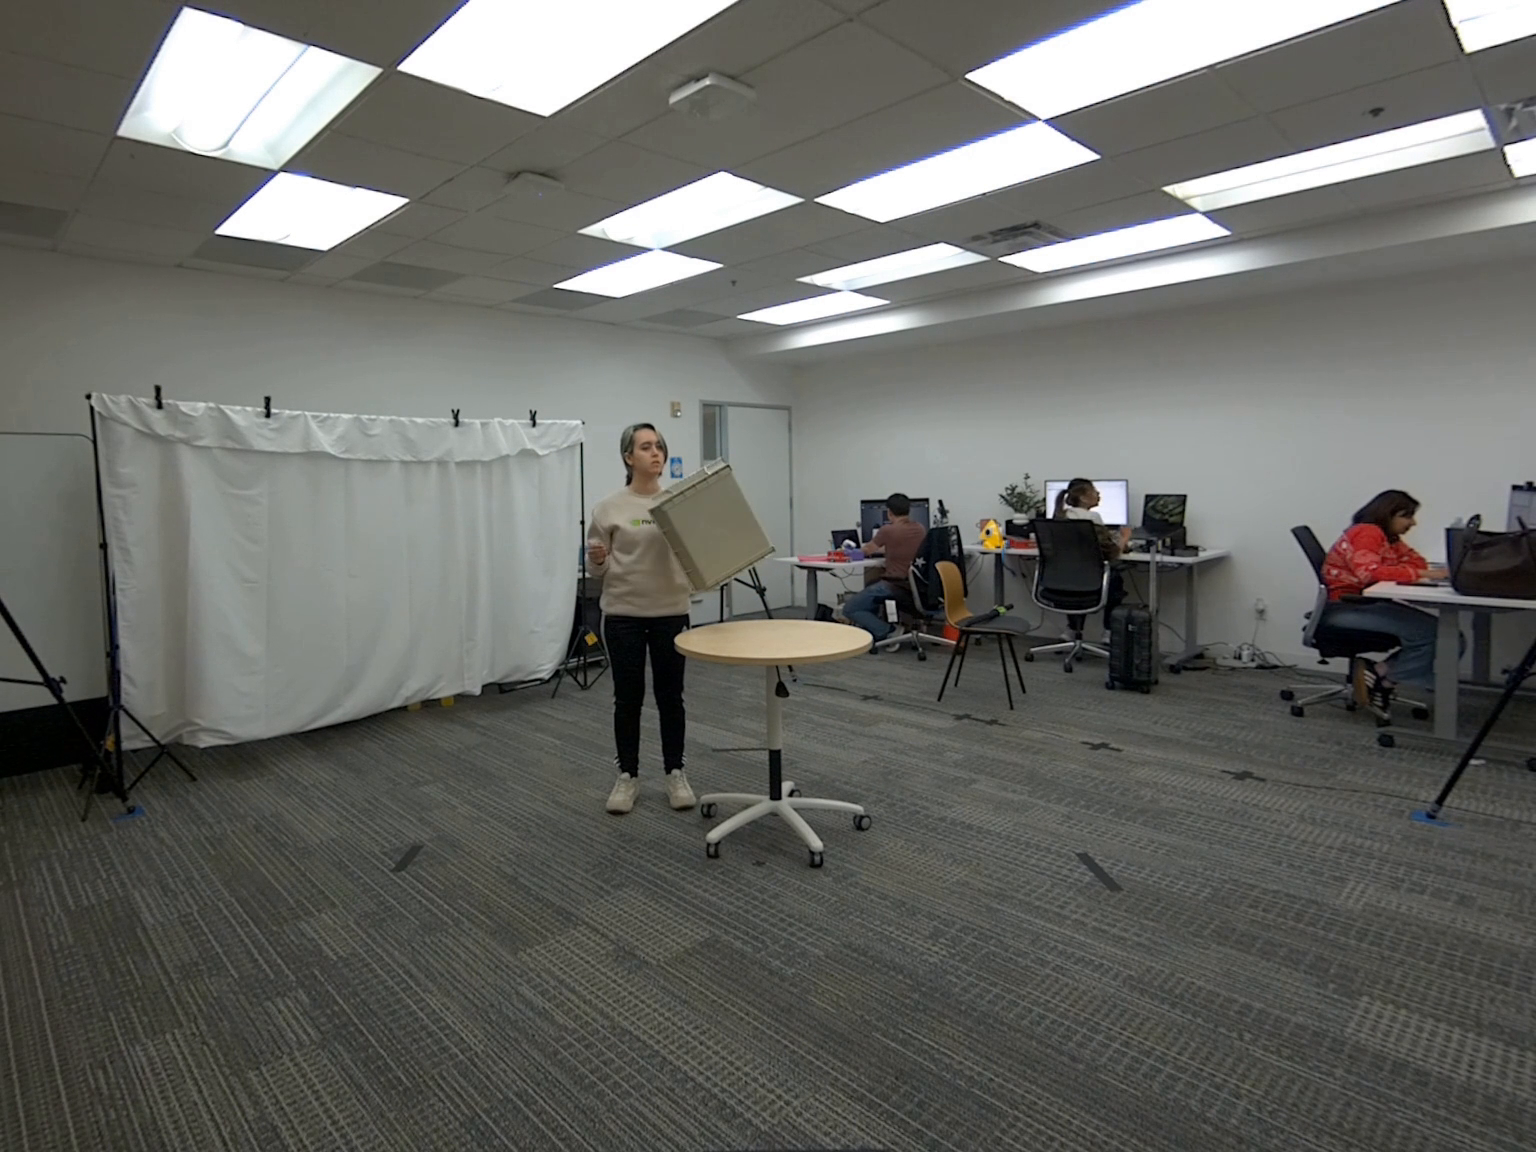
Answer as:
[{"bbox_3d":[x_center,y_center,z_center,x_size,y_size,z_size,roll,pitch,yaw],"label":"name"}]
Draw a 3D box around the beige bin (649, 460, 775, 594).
[{"bbox_3d":[-0.228,-0.200,3.425,0.376,0.414,0.193,-31,16,-7],"label":"beige bin"}]
